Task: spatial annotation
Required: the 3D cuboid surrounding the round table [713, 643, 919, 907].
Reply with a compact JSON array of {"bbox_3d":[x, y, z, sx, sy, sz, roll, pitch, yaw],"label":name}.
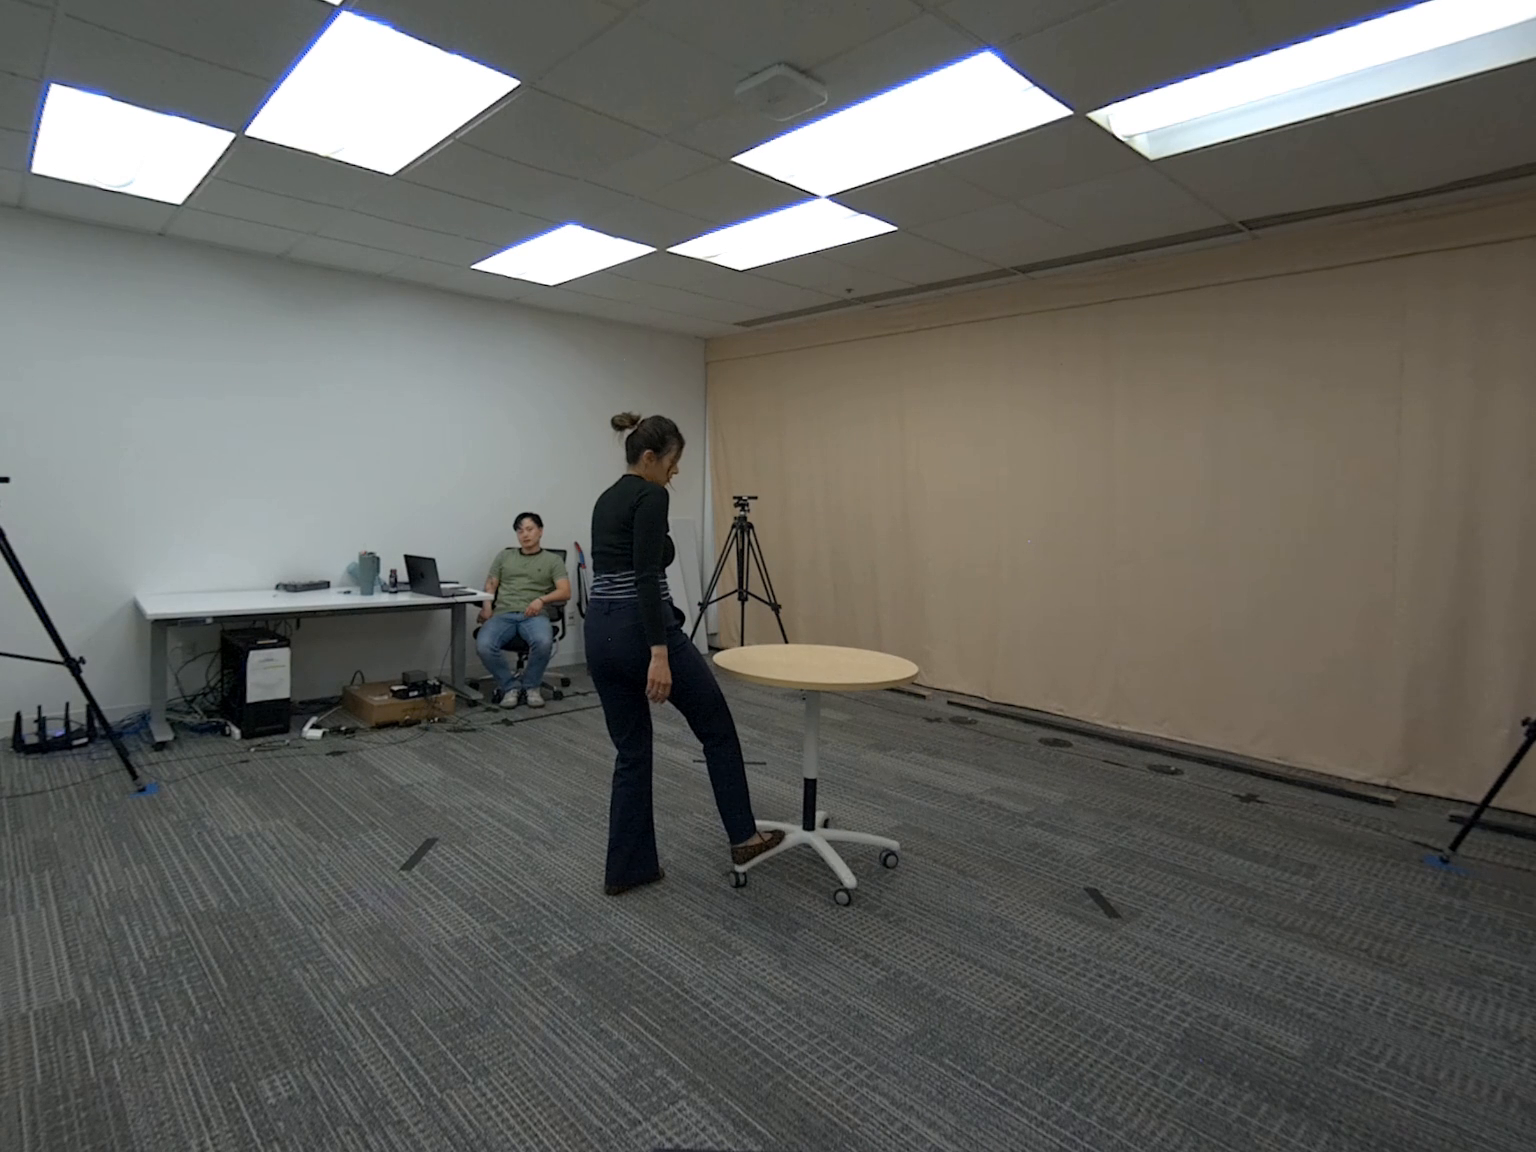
[{"bbox_3d":[0.152,0.715,3.184,0.763,0.792,0.766,2,3,-1],"label":"round table"}]
